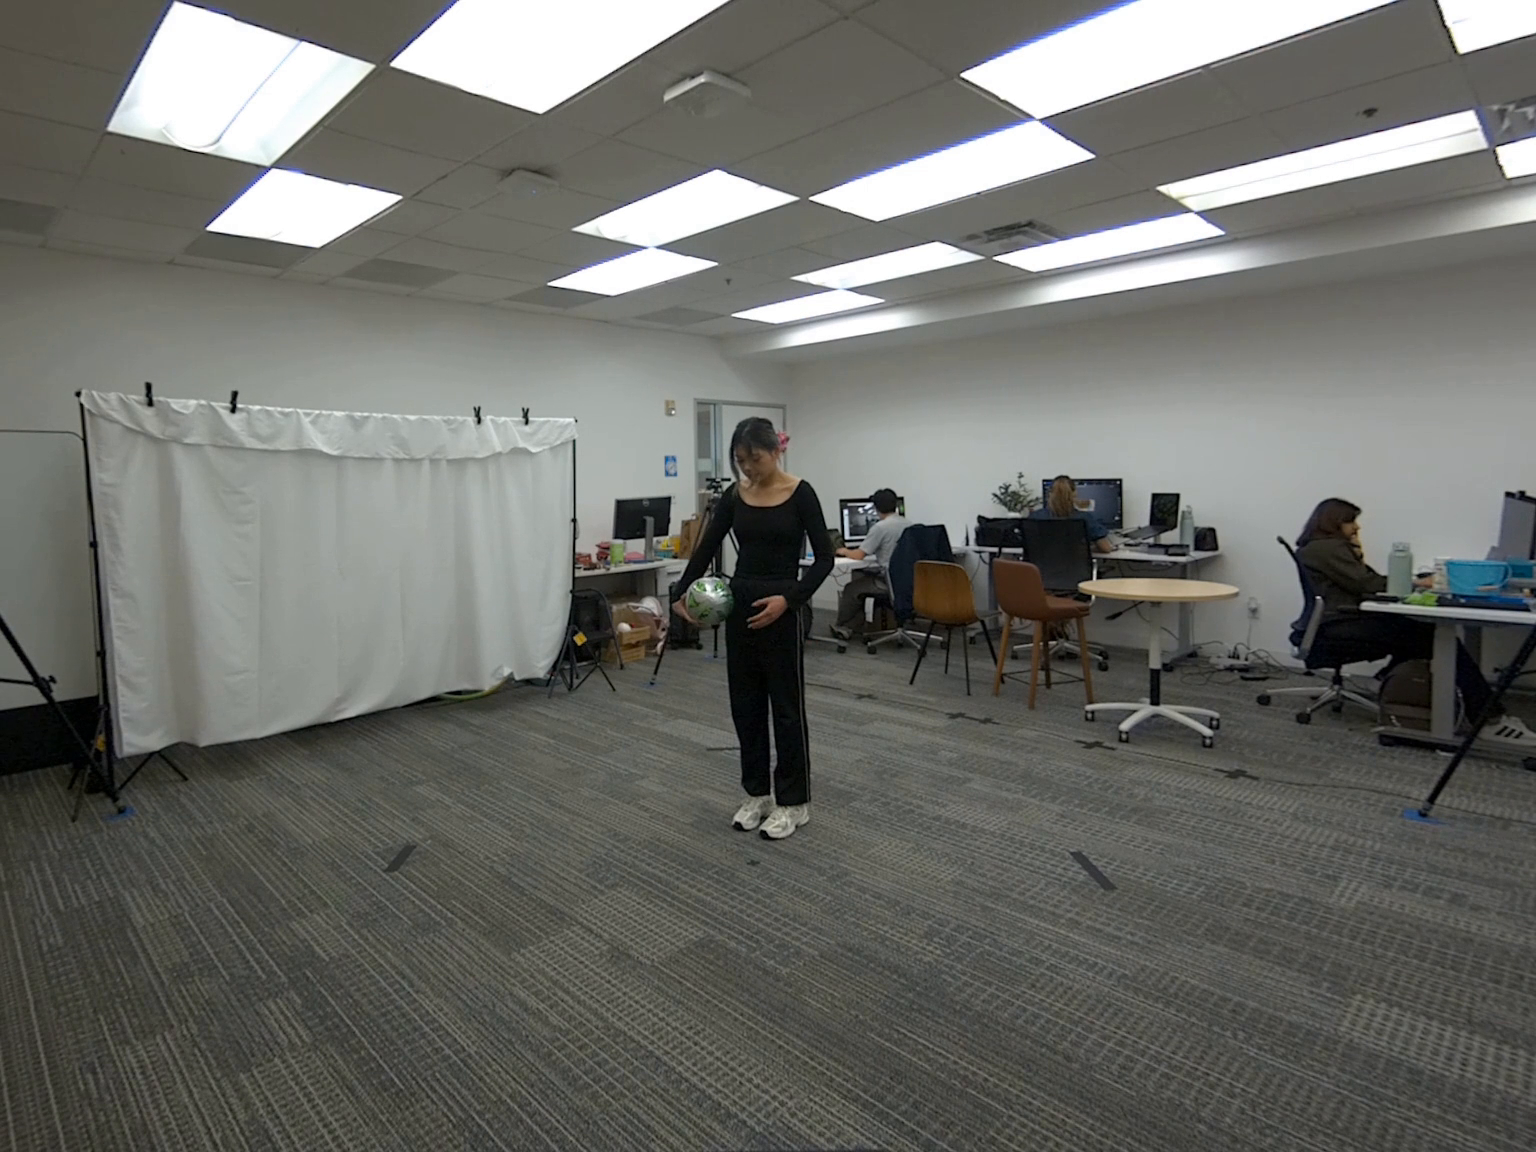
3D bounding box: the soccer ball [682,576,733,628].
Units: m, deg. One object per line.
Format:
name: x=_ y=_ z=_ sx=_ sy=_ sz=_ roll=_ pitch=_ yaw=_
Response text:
soccer ball: x=-0.227 y=0.092 z=3.319 sx=0.187 sy=0.187 sz=0.188 roll=-1 pitch=5 yaw=-2
